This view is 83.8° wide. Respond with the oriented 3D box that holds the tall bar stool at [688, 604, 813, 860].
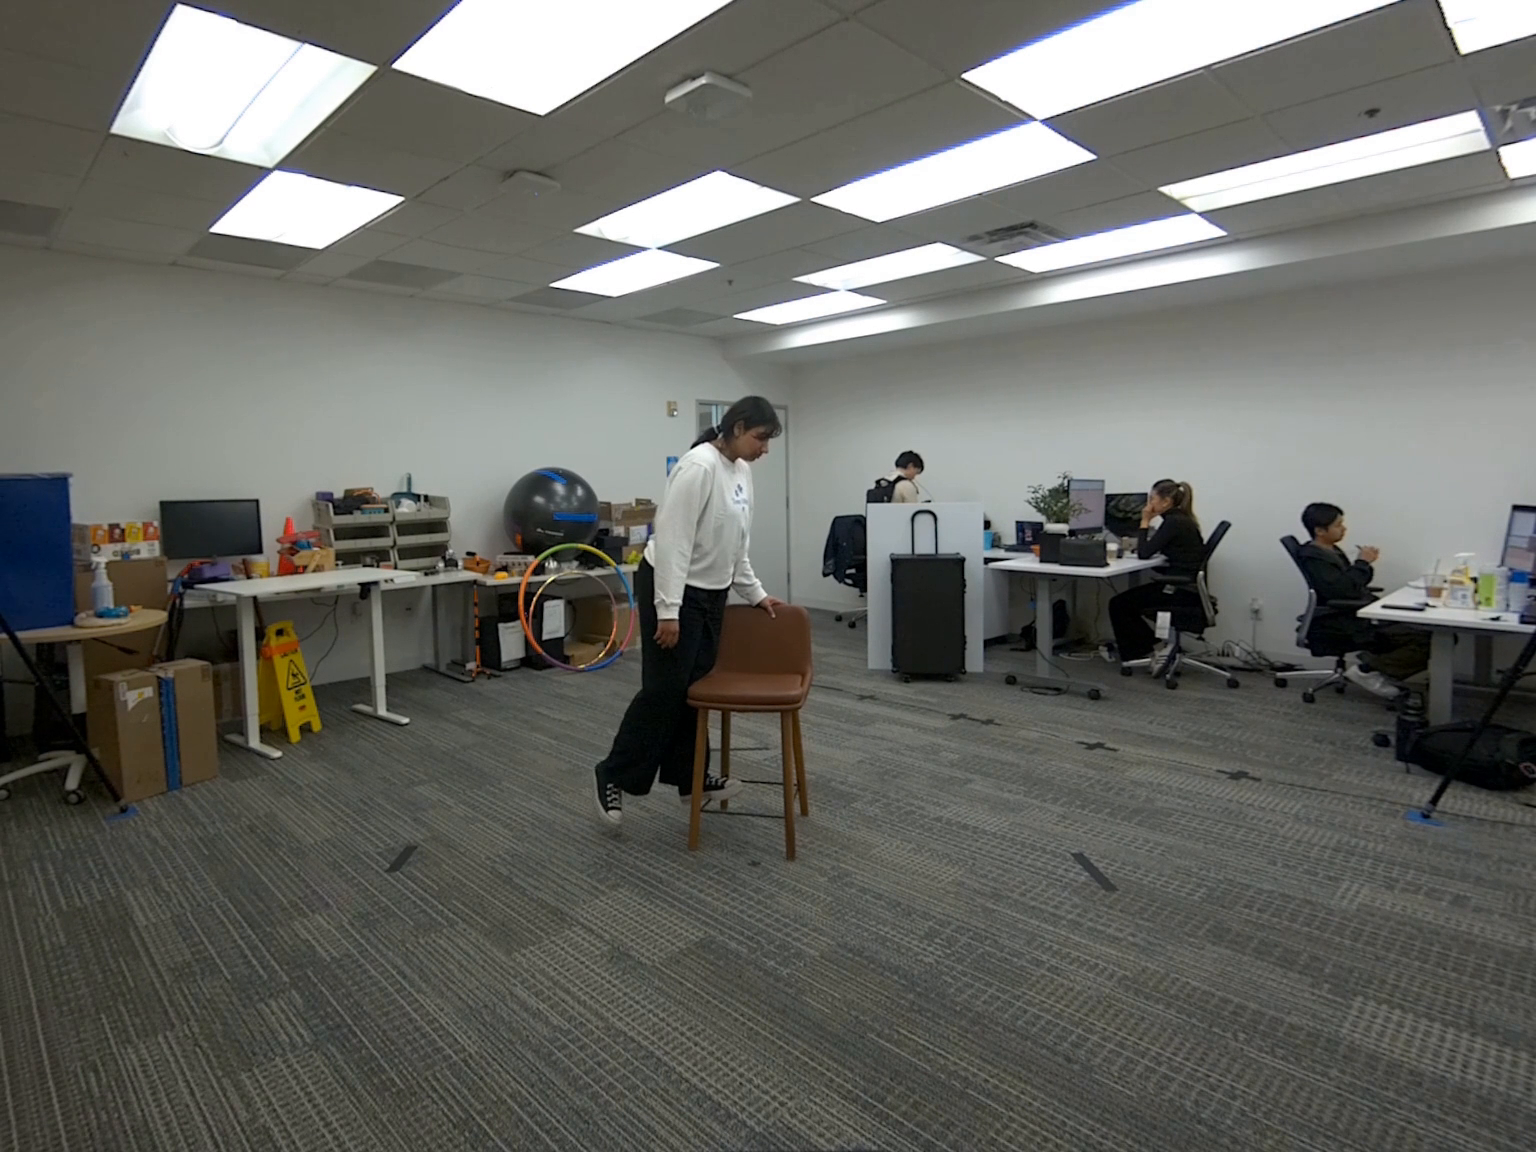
[{"bbox_3d":[-0.060,0.578,3.370,0.463,0.889,0.461,0,1,14],"label":"tall bar stool"}]
